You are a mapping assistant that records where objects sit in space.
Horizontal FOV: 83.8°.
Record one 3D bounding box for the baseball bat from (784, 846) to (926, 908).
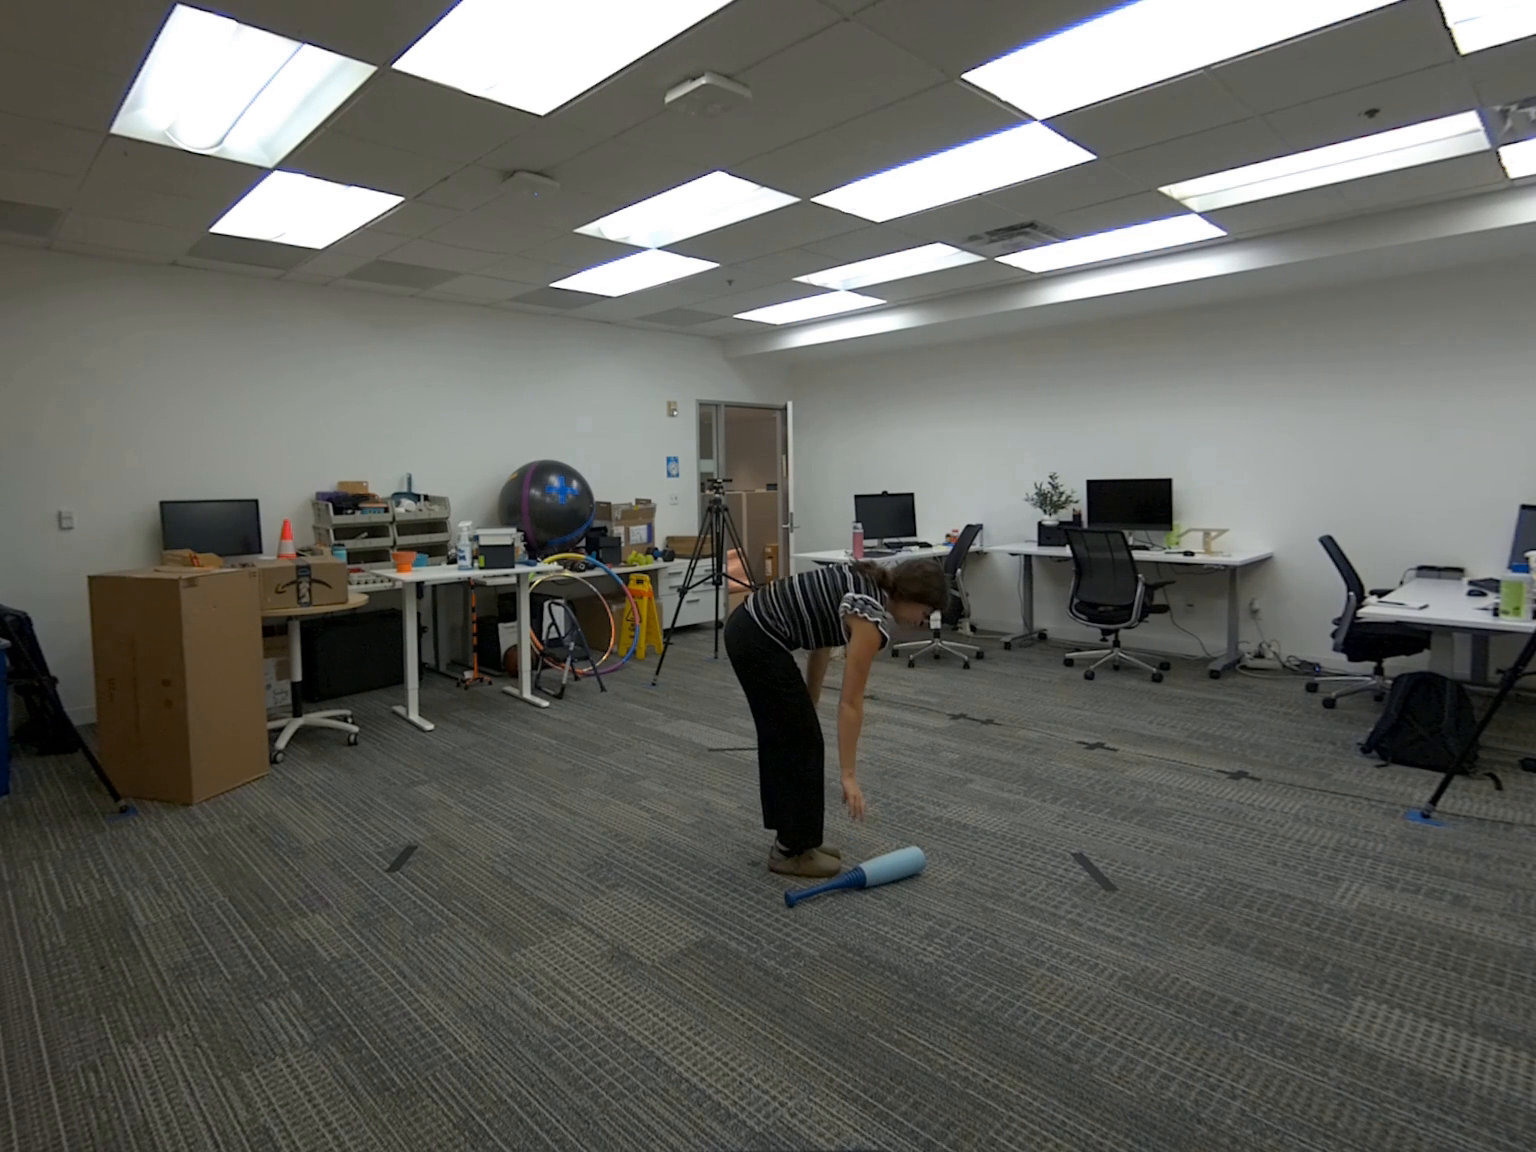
[{"bbox_3d":[0.304,1.026,2.898,0.533,0.088,0.091,-9,8,-24],"label":"baseball bat"}]
